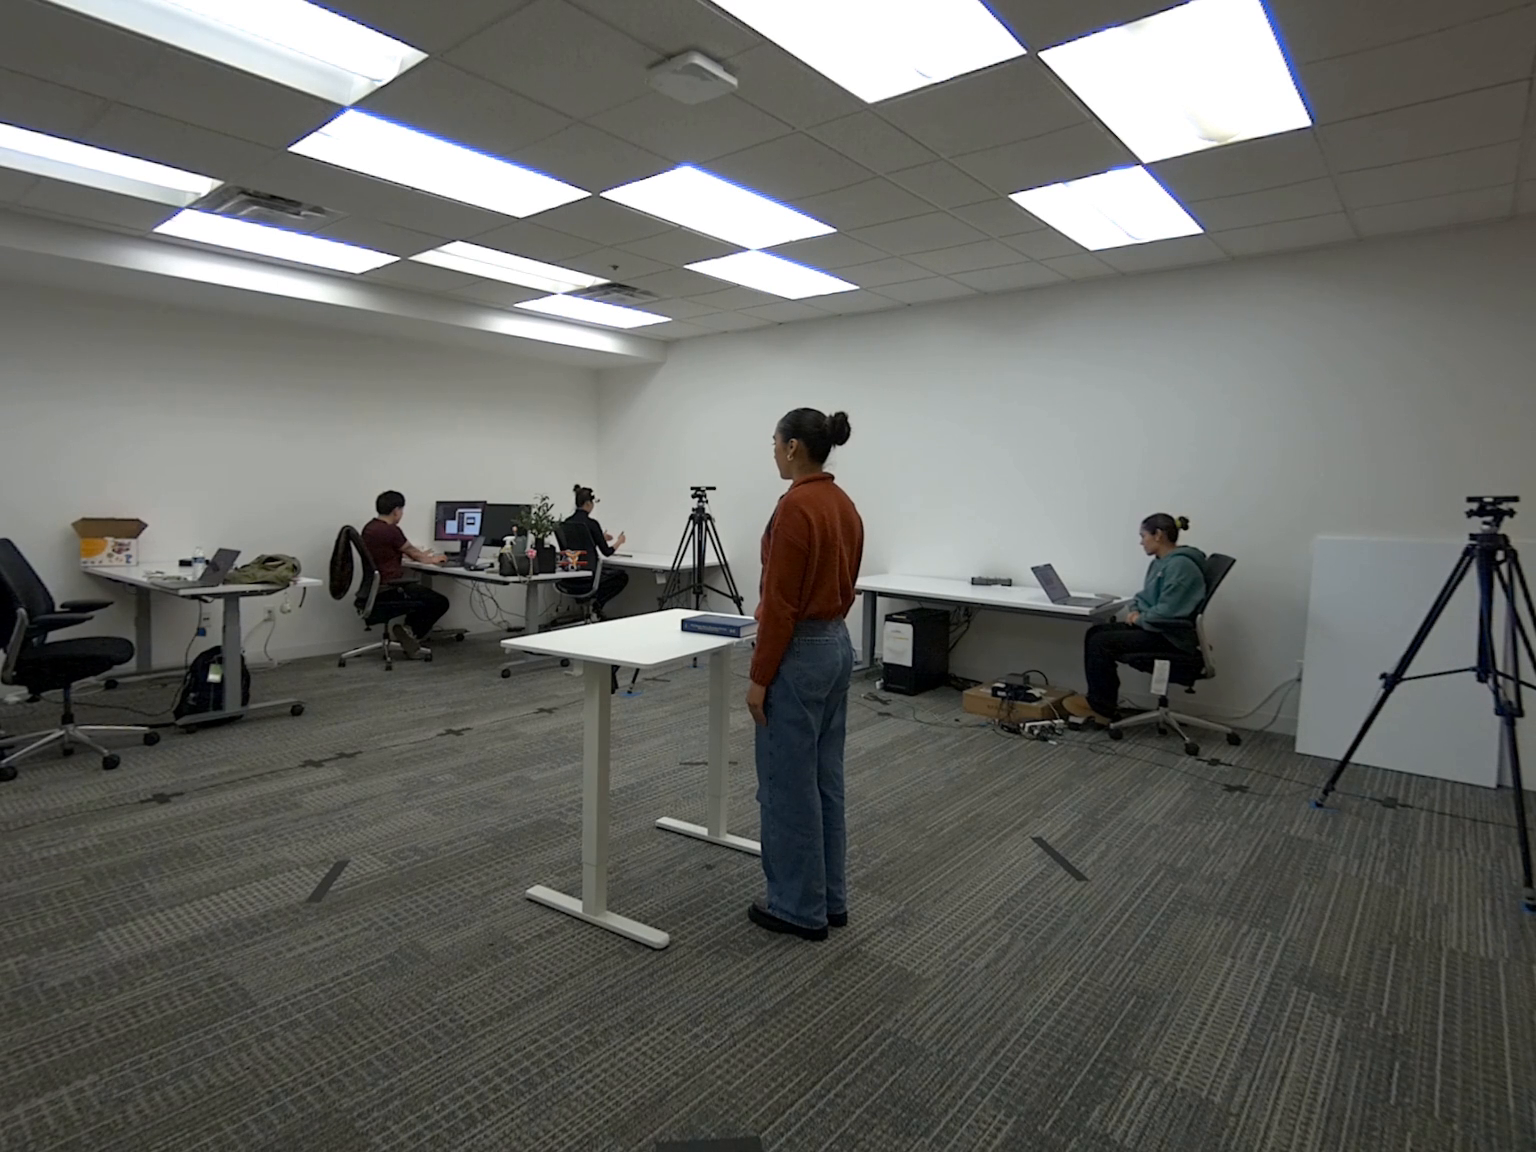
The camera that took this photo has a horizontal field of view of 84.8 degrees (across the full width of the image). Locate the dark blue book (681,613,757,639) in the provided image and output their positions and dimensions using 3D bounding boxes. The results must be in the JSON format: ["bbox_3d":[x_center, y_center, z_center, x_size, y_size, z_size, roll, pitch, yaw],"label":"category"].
[{"bbox_3d":[-0.170,0.175,3.012,0.252,0.045,0.159,4,6,29],"label":"dark blue book"}]
